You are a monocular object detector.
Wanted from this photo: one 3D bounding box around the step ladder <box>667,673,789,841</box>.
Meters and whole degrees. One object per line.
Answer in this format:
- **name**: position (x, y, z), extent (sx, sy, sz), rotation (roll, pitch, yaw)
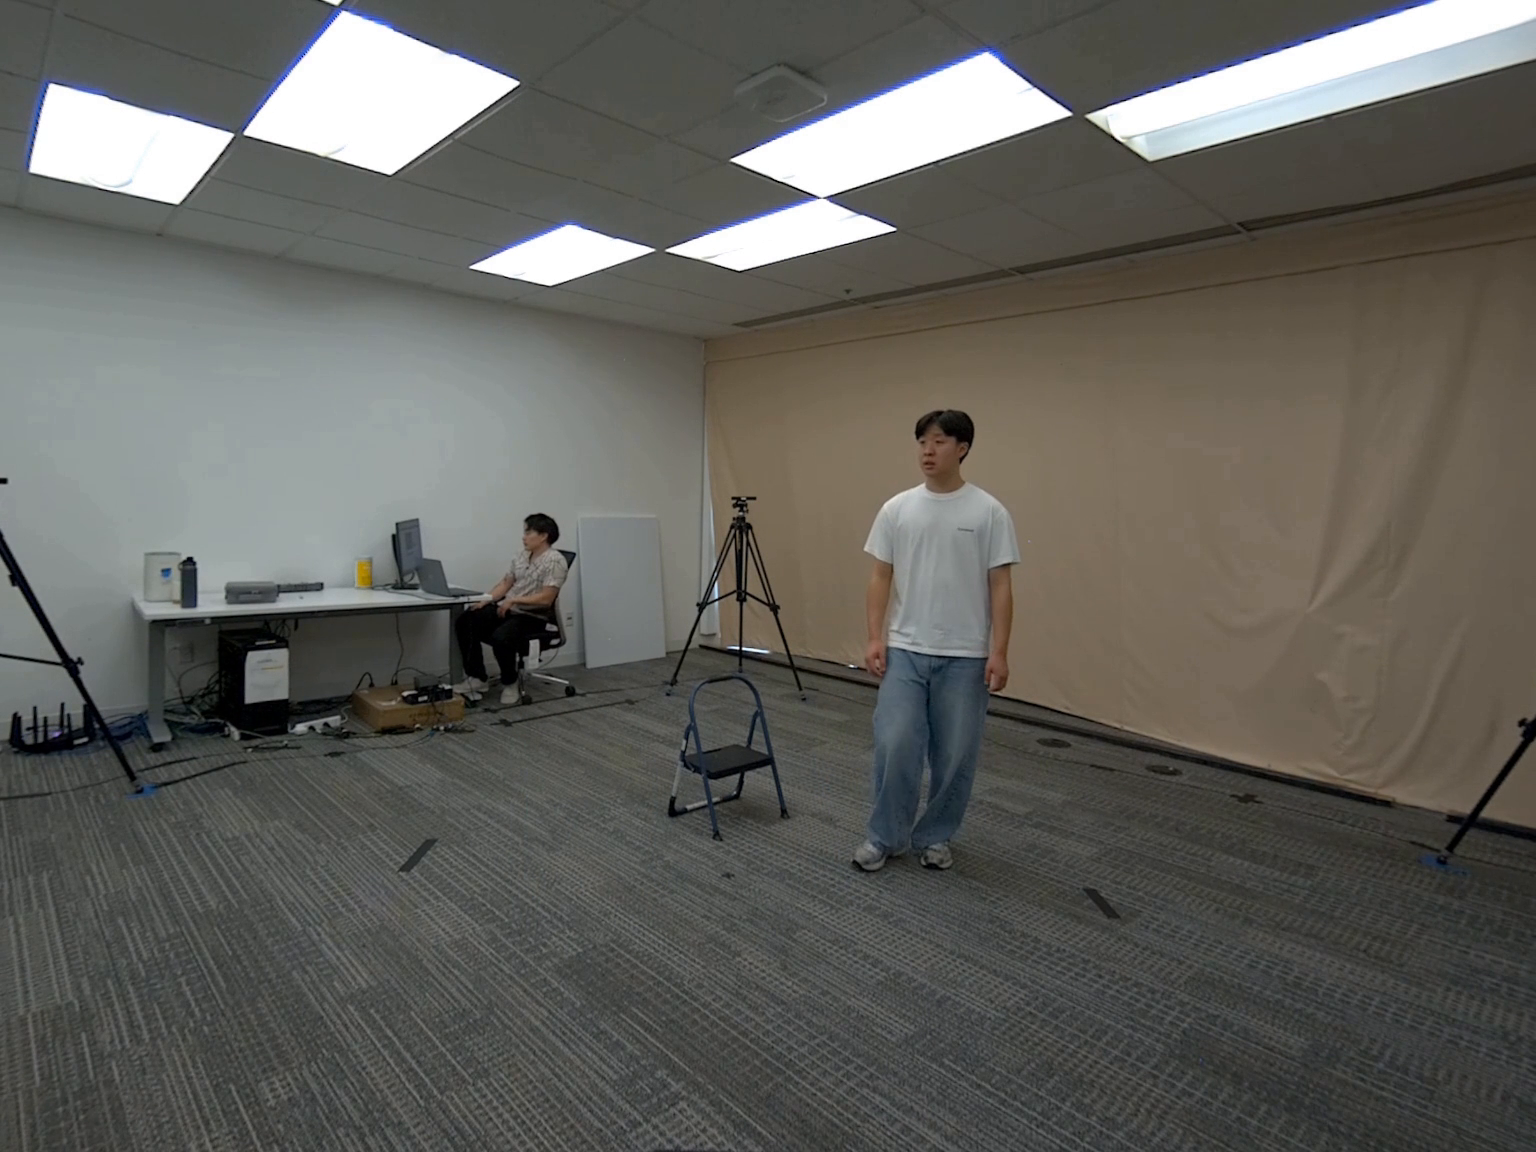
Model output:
- **step ladder**: position (-0.173, 0.752, 3.673), extent (0.420, 0.604, 0.358), rotation (-1, 5, -44)
